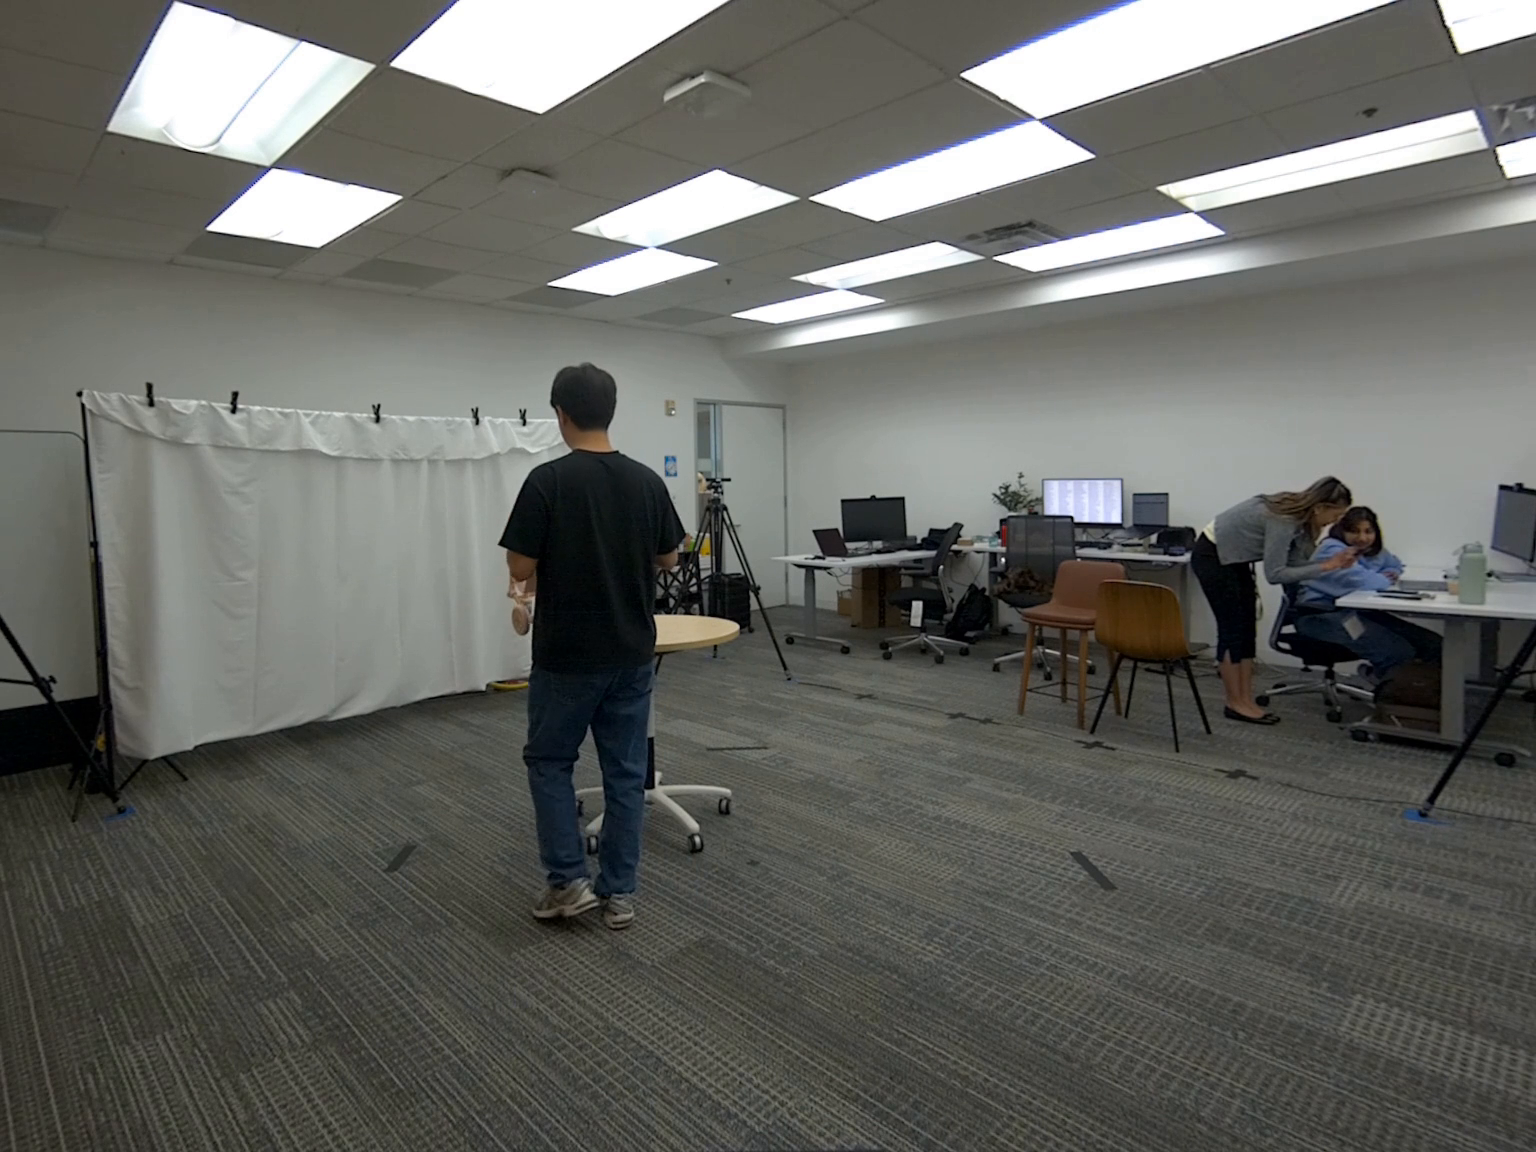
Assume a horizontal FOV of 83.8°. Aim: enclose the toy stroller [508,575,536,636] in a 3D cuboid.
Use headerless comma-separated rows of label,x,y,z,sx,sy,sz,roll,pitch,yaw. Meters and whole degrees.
toy stroller,-0.792,-0.041,3.074,0.275,0.527,0.354,-4,23,-32
